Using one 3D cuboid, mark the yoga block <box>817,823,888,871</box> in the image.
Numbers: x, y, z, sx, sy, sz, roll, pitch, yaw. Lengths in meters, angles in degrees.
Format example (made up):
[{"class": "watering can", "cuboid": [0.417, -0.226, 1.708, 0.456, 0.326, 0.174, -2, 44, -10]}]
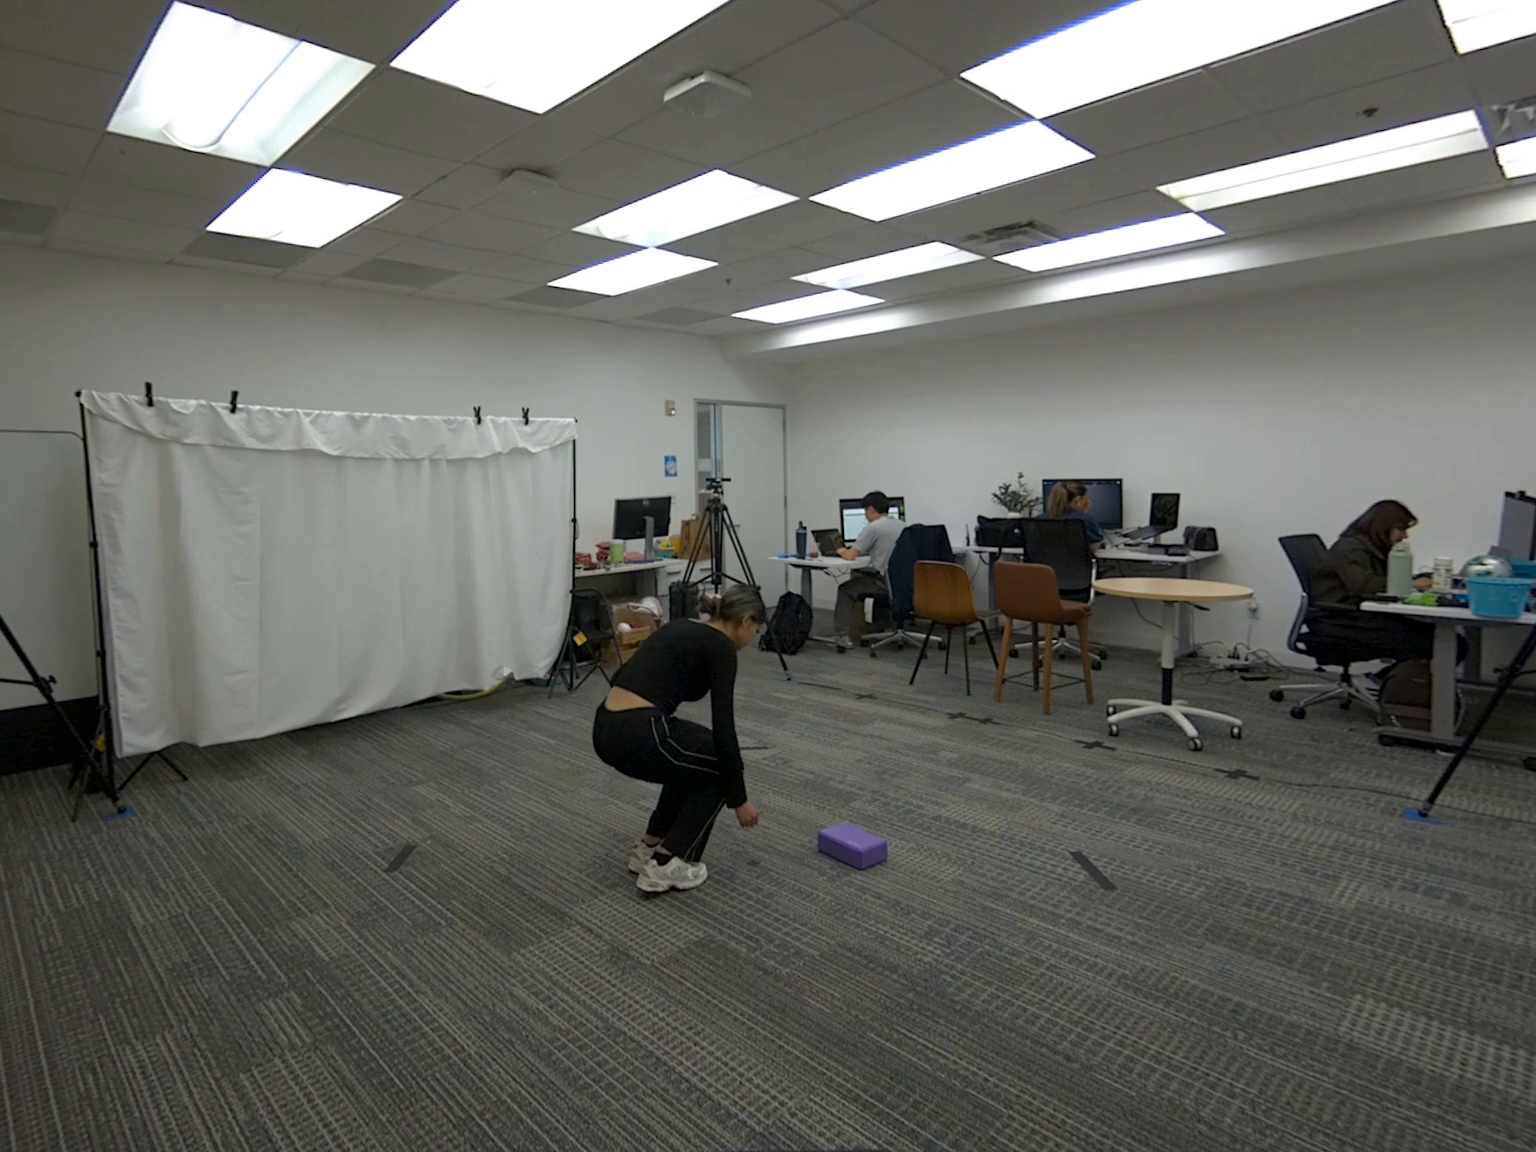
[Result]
[{"class": "yoga block", "cuboid": [0.311, 0.988, 3.150, 0.145, 0.076, 0.236, -6, 8, -39]}]
